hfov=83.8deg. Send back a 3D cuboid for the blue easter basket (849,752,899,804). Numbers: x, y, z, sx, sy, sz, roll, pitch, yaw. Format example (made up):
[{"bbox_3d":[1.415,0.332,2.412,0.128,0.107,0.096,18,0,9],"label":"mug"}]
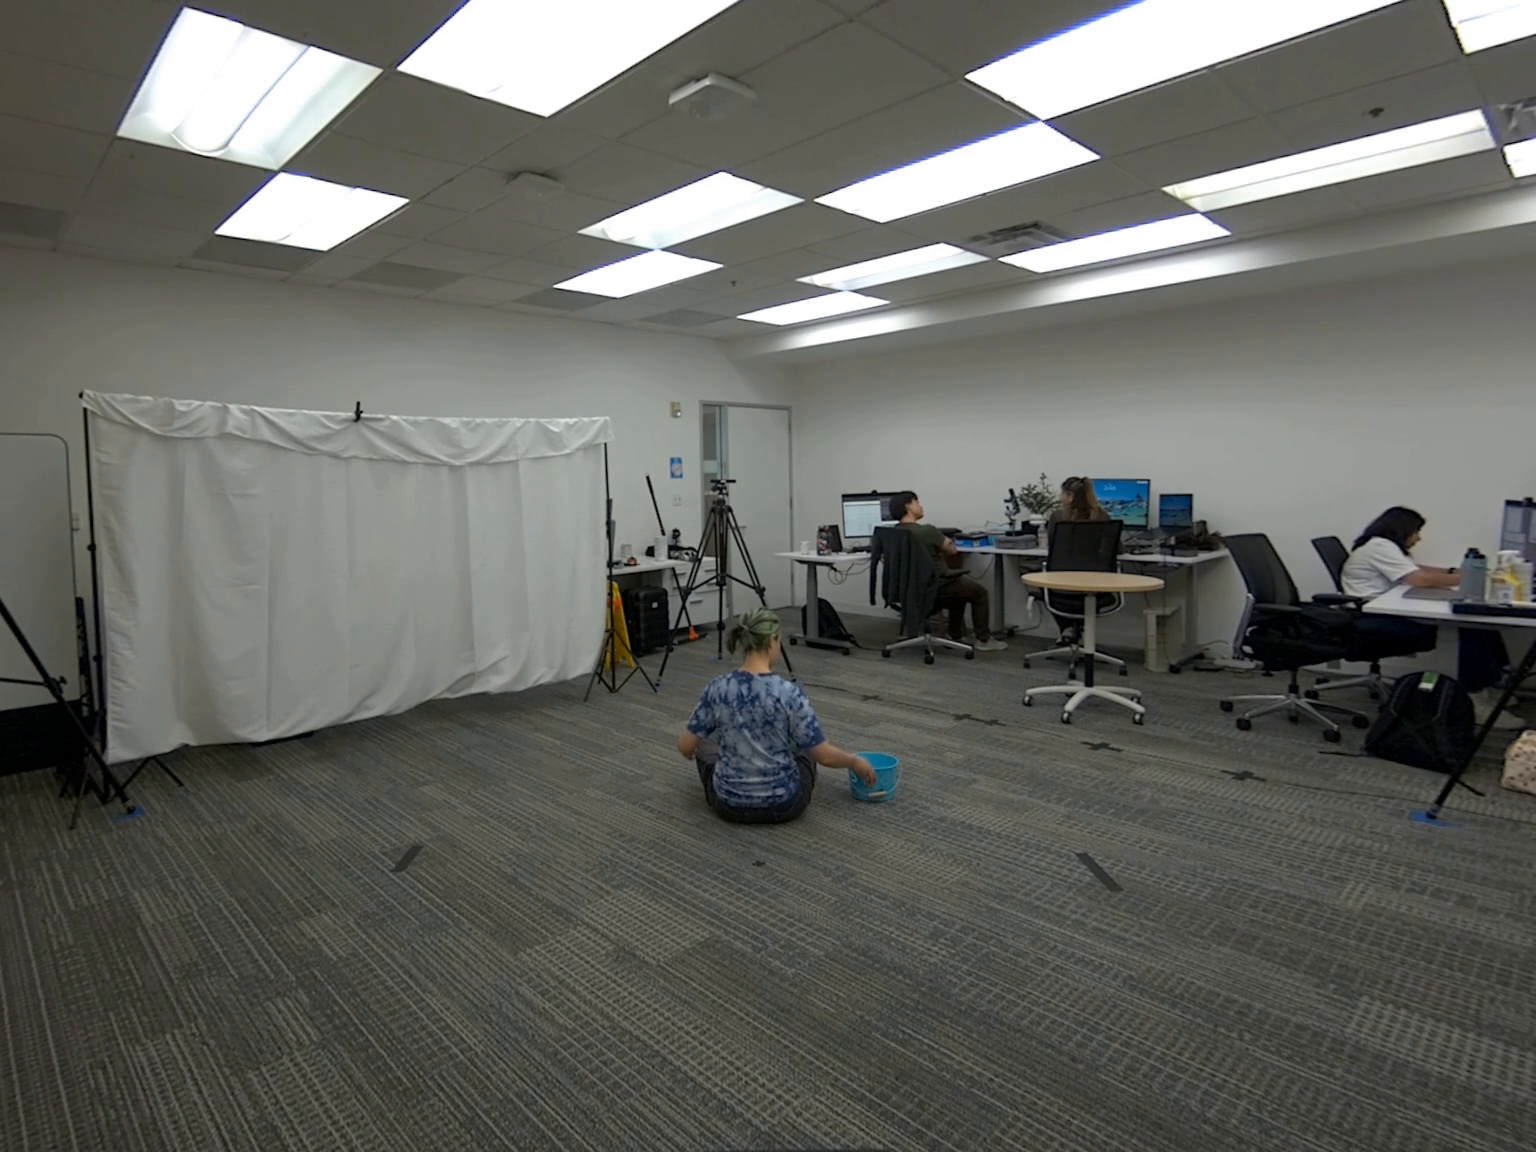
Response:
[{"bbox_3d":[0.449,0.881,3.761,0.243,0.155,0.244,-1,4,-2],"label":"blue easter basket"}]
